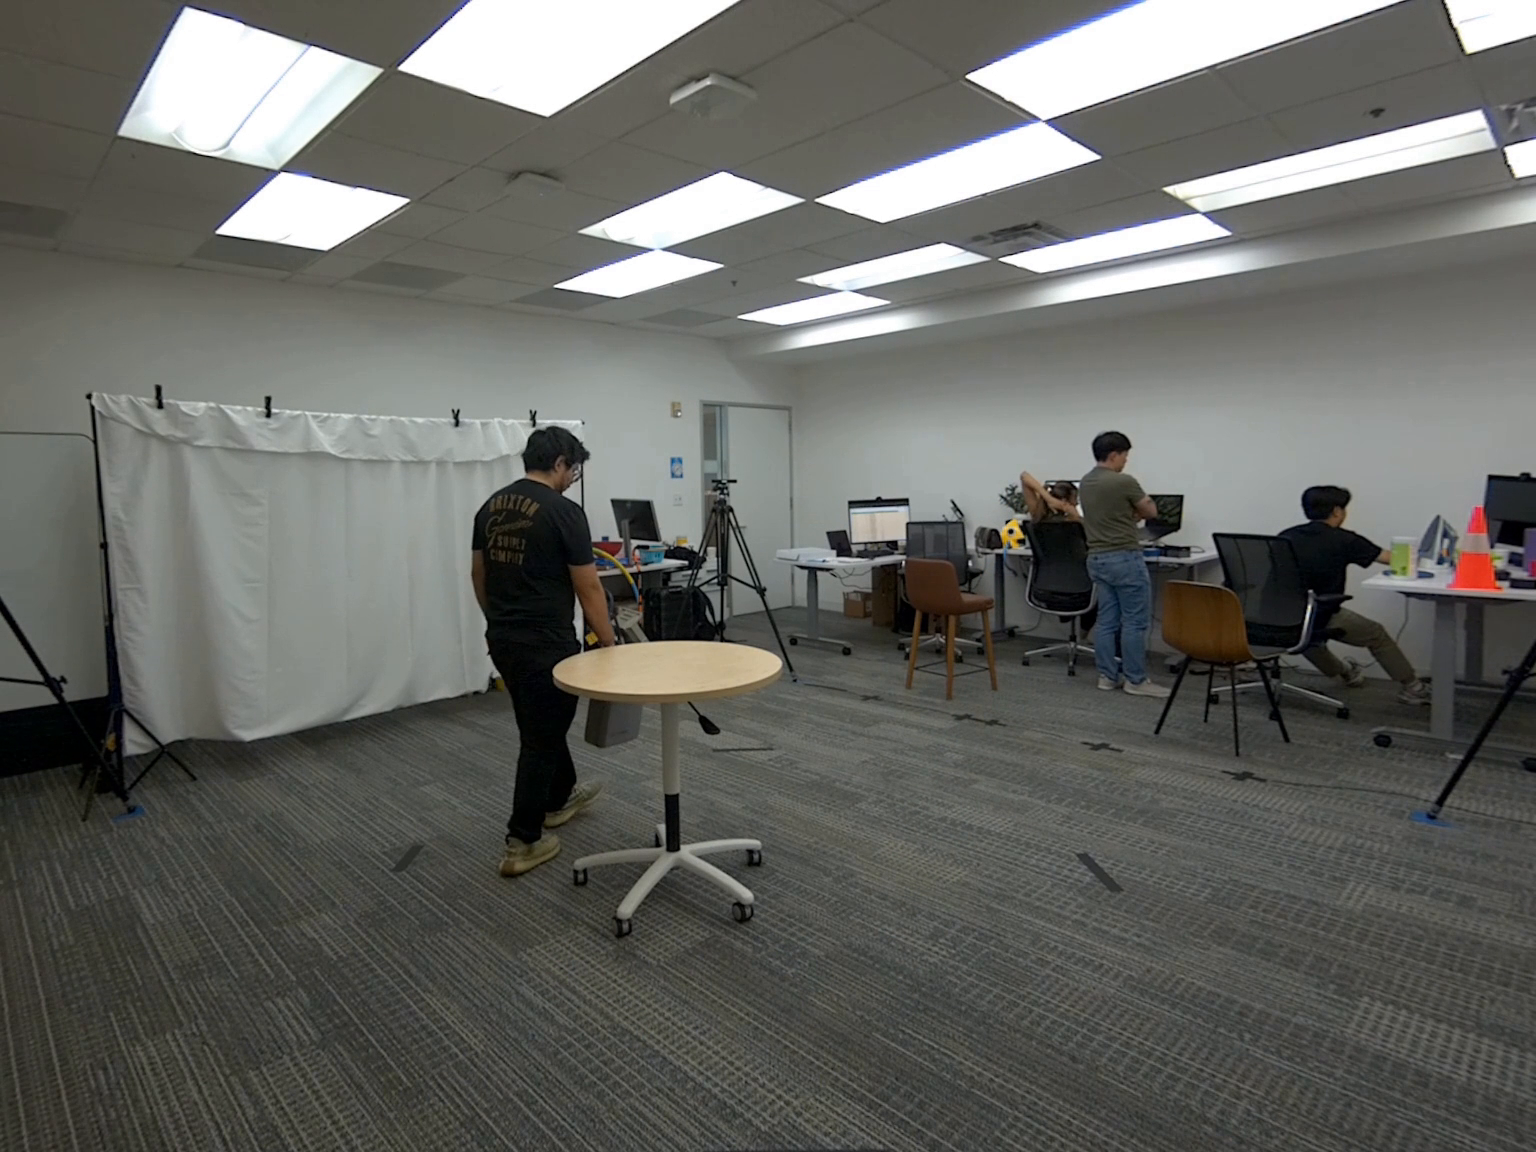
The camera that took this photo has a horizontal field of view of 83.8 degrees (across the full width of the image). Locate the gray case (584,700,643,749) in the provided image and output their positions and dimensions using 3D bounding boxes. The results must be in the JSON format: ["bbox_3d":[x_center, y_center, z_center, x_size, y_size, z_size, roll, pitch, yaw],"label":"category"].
[{"bbox_3d":[-0.587,0.510,3.281,0.107,0.260,0.251,10,3,25],"label":"gray case"}]
